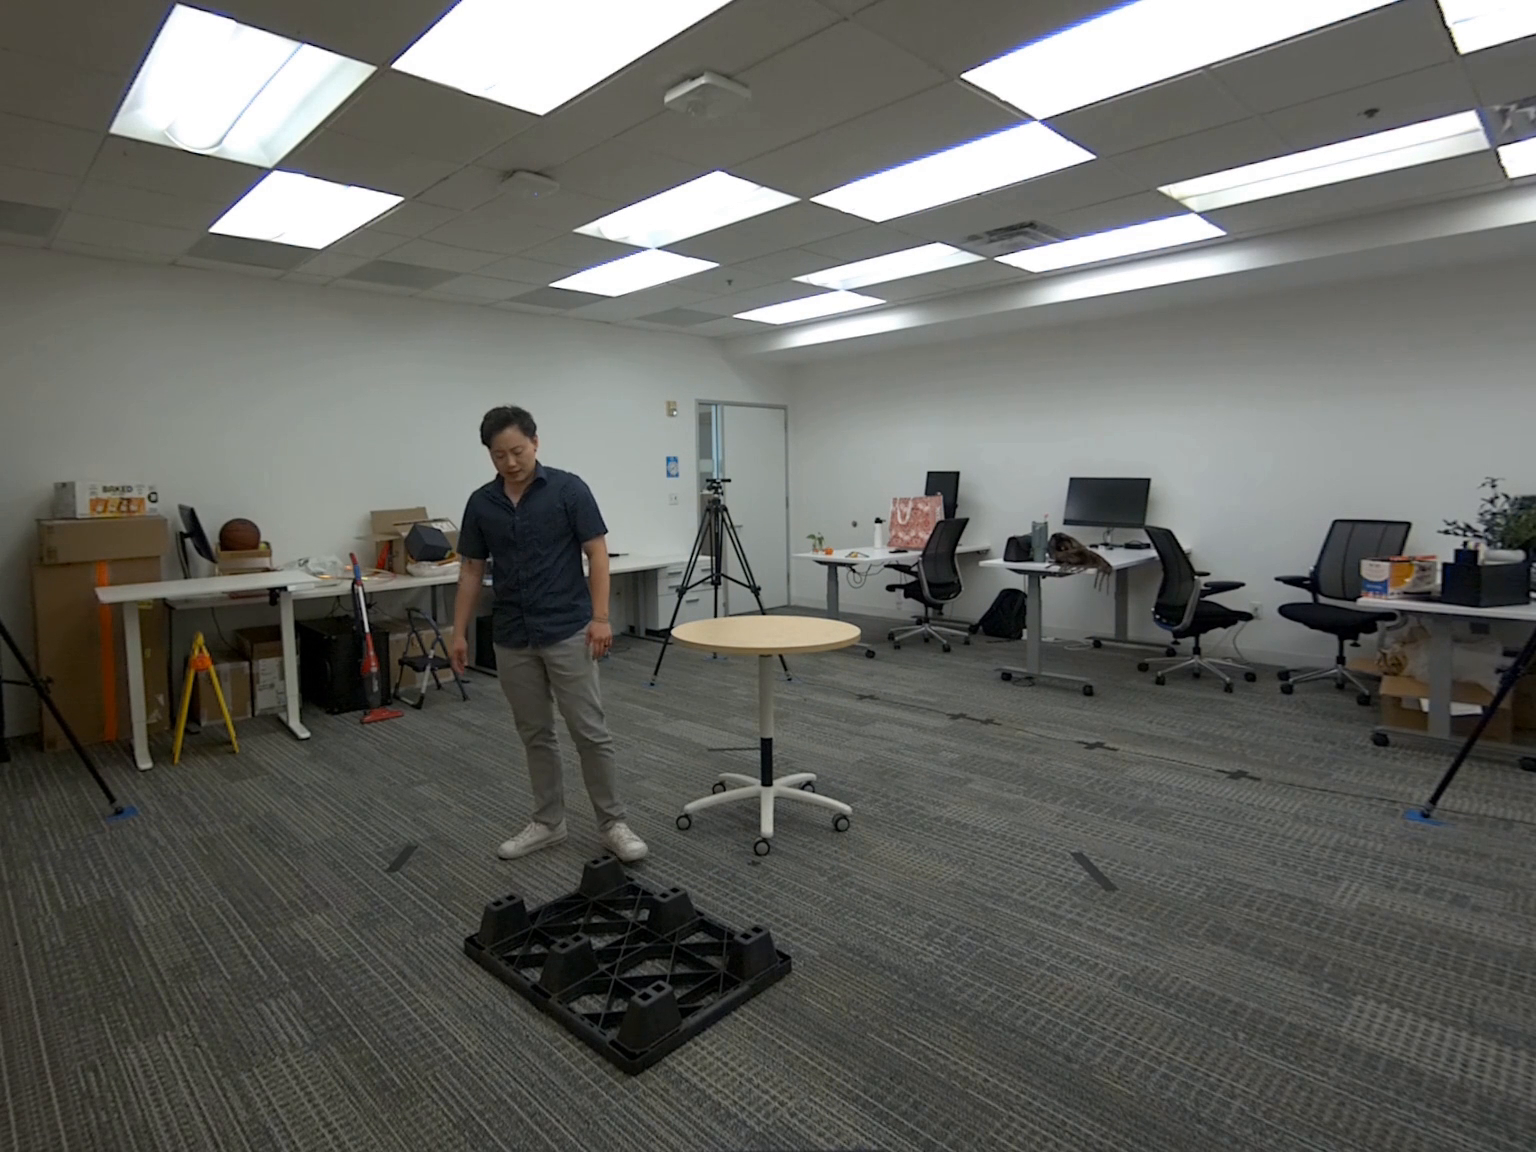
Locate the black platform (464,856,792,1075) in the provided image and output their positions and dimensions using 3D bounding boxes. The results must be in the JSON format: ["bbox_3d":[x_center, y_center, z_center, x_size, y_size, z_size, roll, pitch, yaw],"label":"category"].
[{"bbox_3d":[-0.423,1.058,2.490,0.830,0.142,0.589,5,9,42],"label":"black platform"}]
